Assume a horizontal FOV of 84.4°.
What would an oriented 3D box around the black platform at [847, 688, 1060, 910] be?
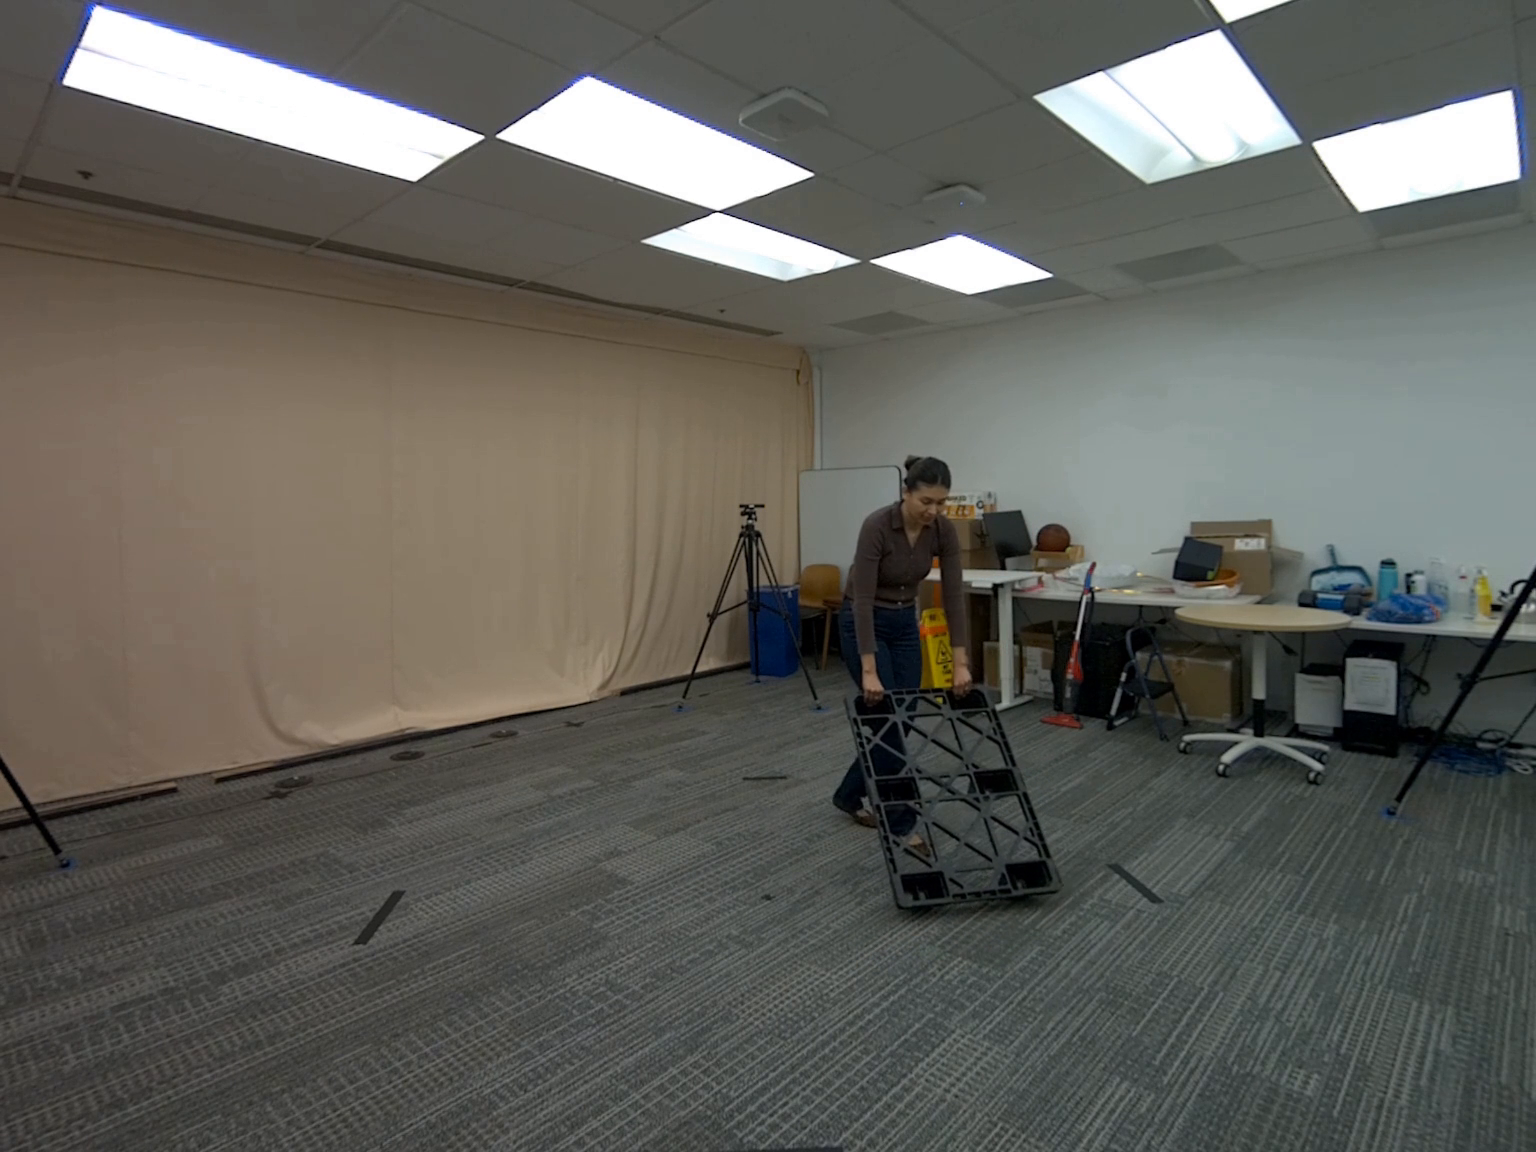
[{"bbox_3d":[0.656,0.797,3.111,0.598,0.824,0.142,-2,-37,-11],"label":"black platform"}]
